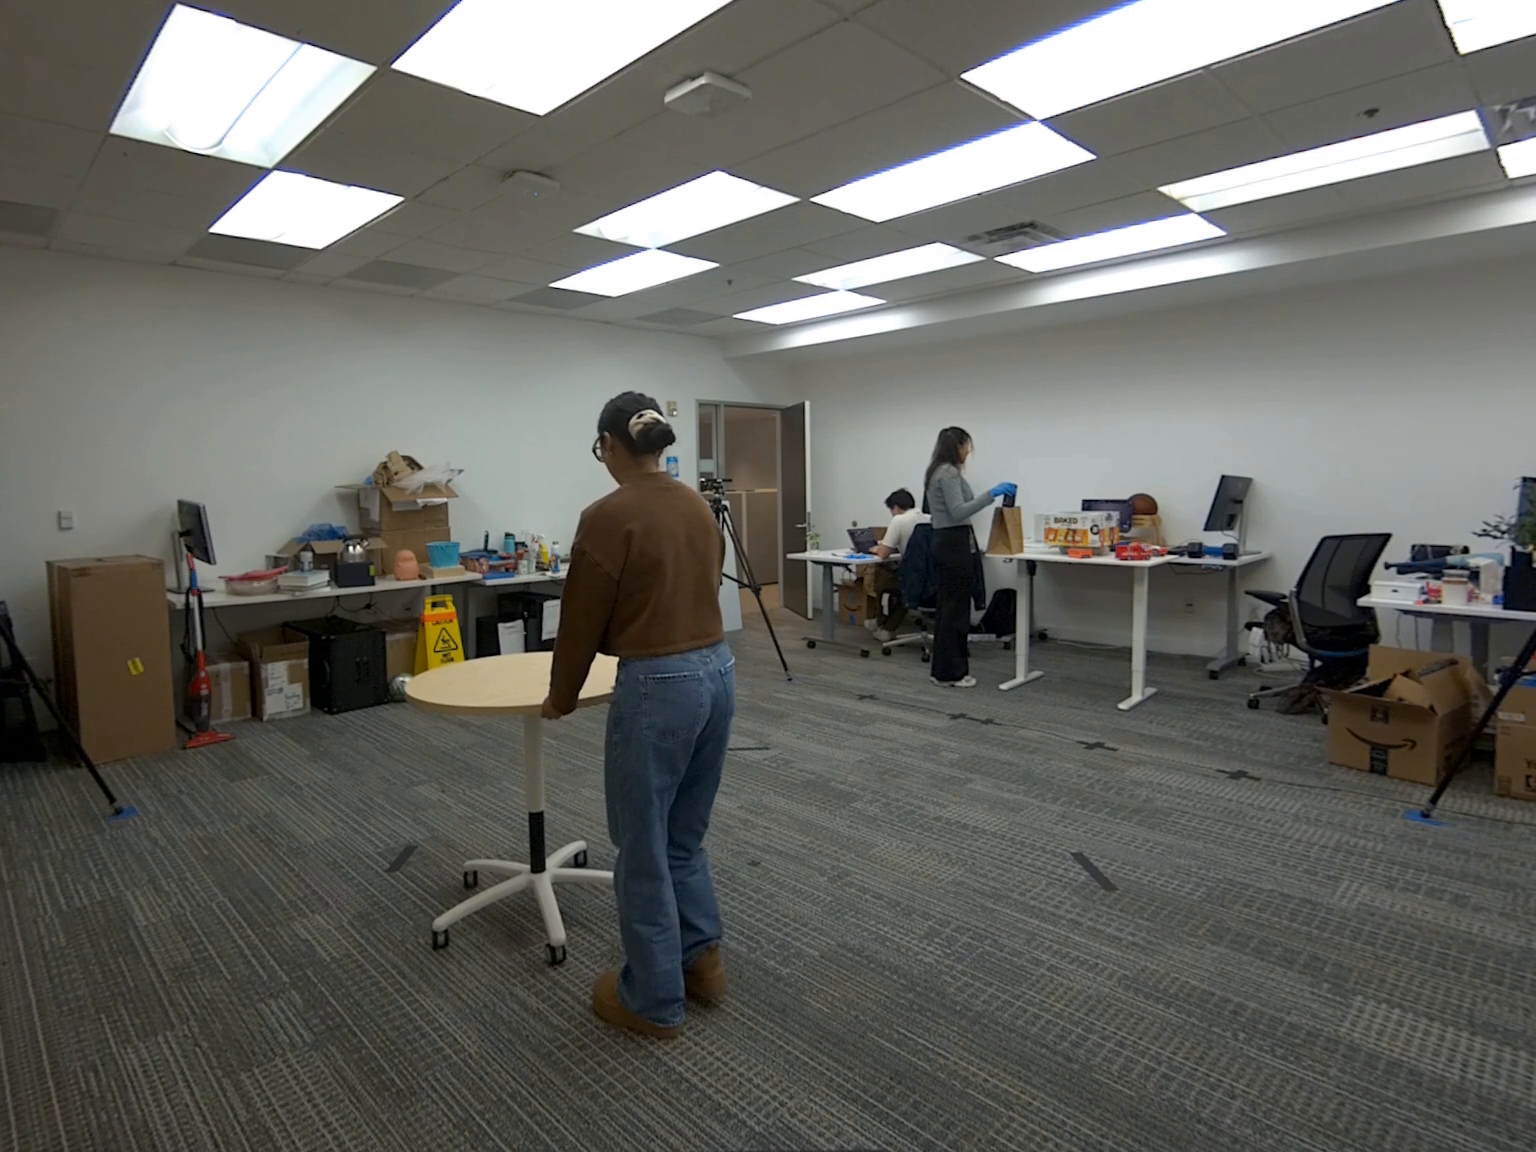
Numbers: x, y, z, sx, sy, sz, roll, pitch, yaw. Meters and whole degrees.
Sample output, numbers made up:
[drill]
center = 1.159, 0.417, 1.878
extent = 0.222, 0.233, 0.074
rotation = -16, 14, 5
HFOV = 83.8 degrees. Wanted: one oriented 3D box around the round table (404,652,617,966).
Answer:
[round table]
center = -0.743, 0.709, 2.760
extent = 0.763, 0.791, 0.768
rotation = -2, 5, -2
